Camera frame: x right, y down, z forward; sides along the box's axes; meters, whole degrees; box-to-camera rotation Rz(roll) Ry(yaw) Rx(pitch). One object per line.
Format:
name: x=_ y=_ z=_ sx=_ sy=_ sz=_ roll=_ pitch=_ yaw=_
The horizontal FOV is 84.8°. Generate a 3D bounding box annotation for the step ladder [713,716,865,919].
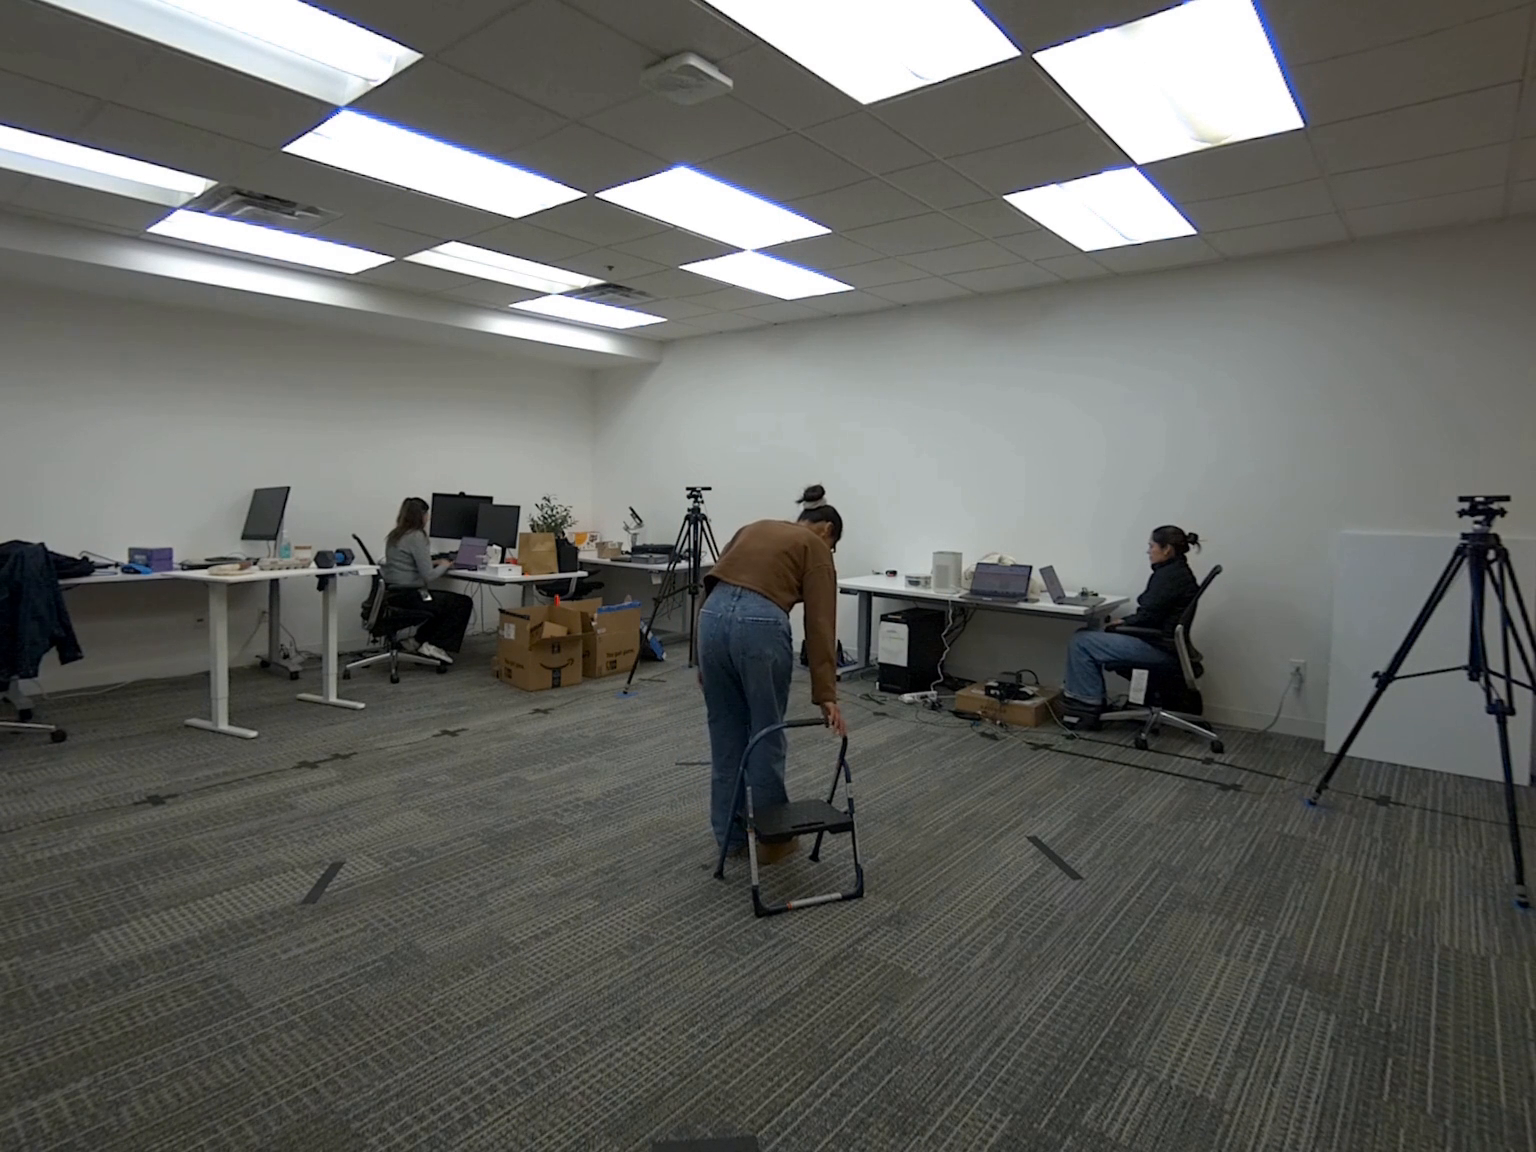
step ladder: x=0.067 y=0.782 z=2.975 sx=0.420 sy=0.605 sz=0.359 roll=0 pitch=3 yaw=-26
